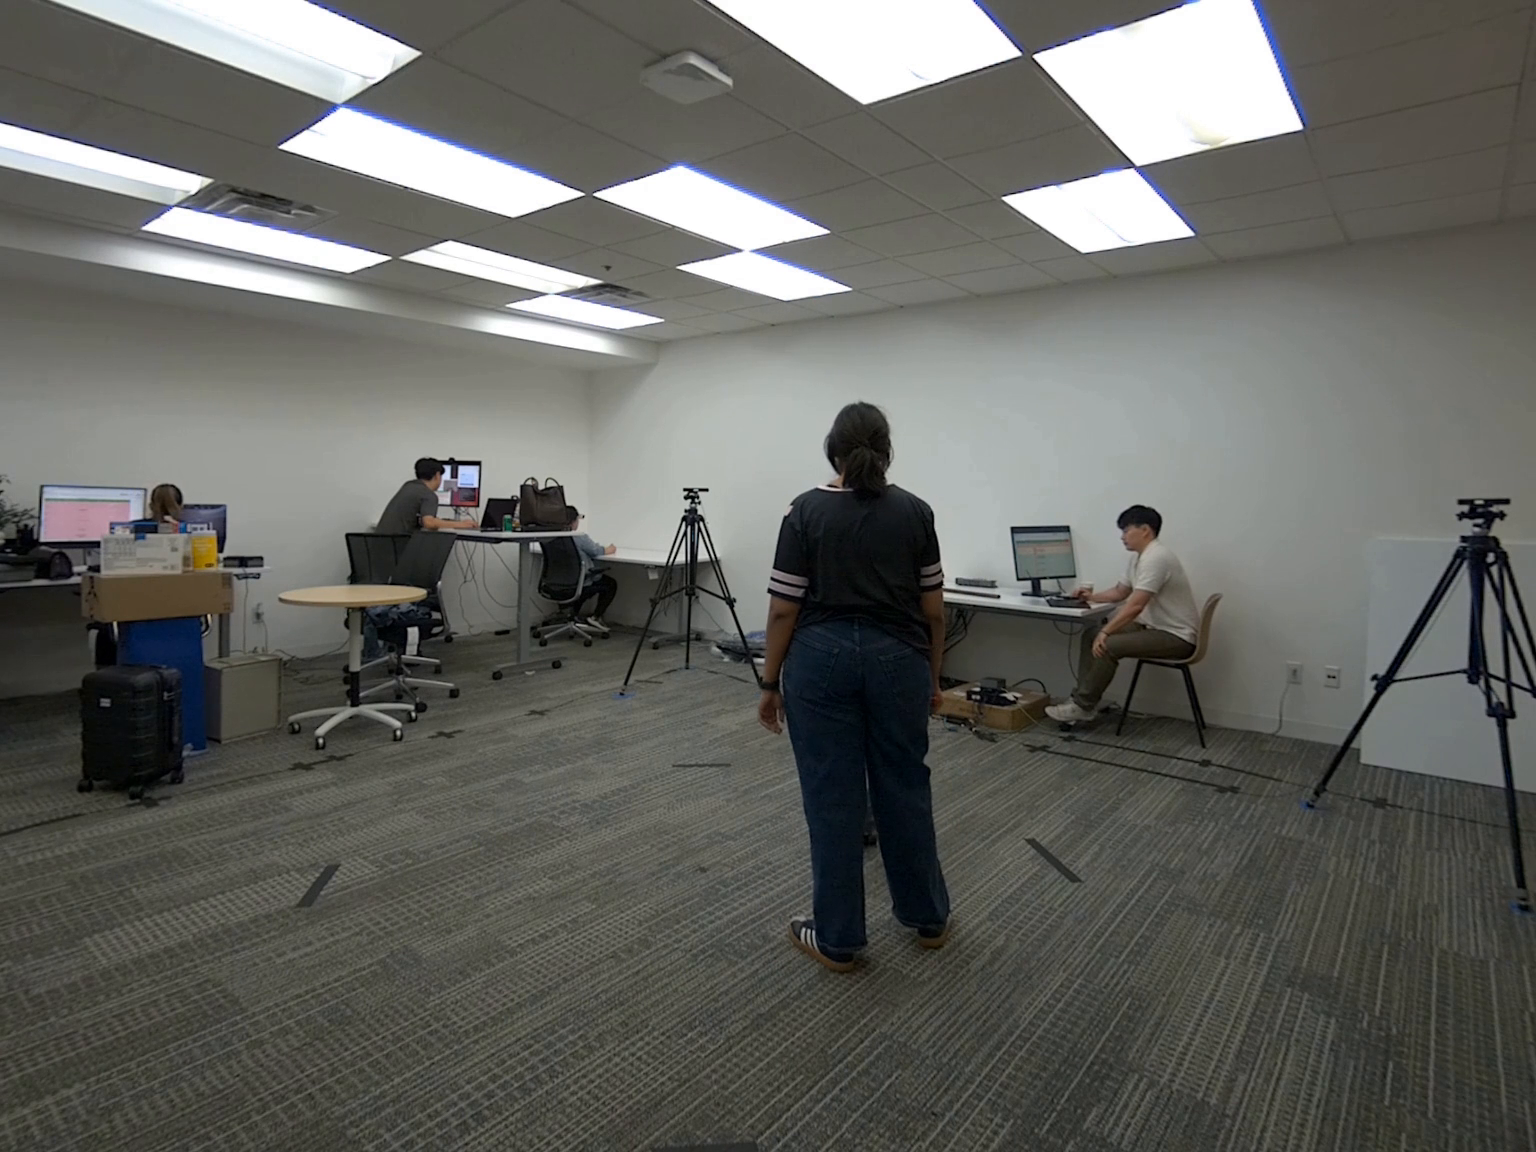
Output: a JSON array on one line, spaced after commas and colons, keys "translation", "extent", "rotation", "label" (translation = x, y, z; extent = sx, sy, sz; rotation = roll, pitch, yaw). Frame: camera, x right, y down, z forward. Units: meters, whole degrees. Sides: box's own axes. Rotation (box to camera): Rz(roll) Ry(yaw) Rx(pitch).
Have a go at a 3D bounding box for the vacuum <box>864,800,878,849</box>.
[{"translation": [0.420, 0.710, 3.012], "extent": [0.250, 0.149, 1.026], "rotation": [-2, -37, -11], "label": "vacuum"}]
